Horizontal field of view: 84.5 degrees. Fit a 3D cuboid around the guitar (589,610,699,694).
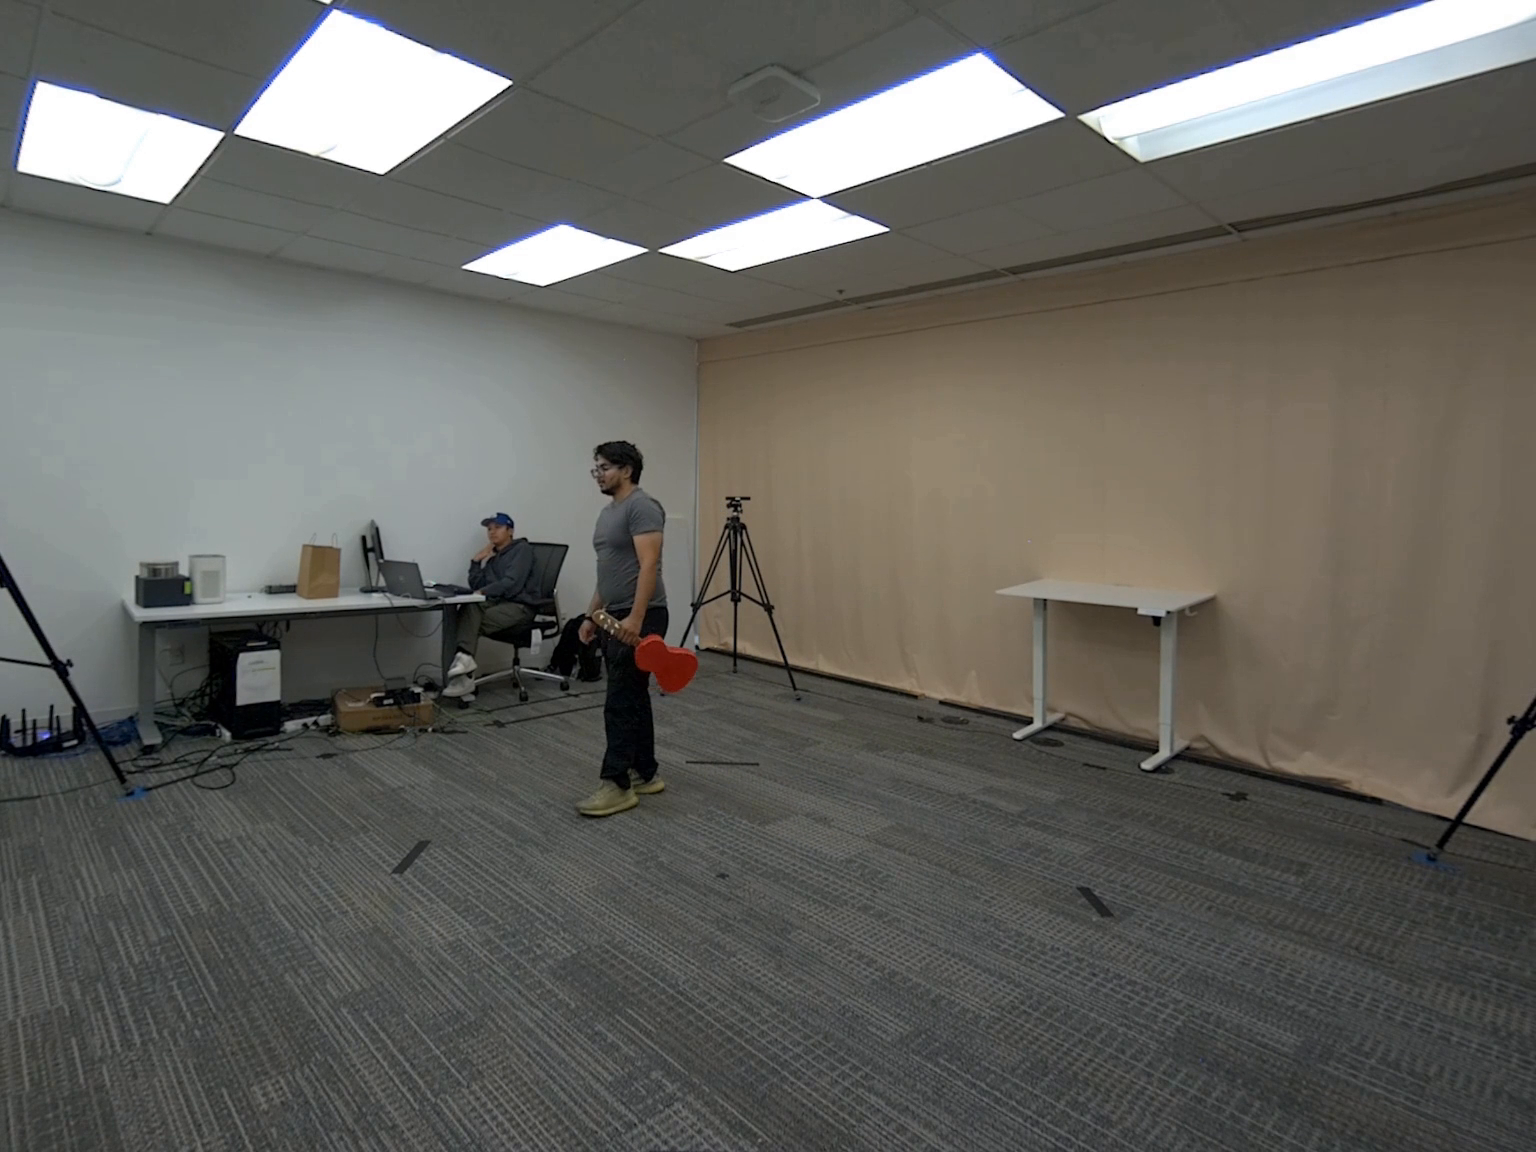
[{"bbox_3d":[-0.549,0.326,3.531,0.489,0.192,0.072,27,9,-18],"label":"guitar"}]
